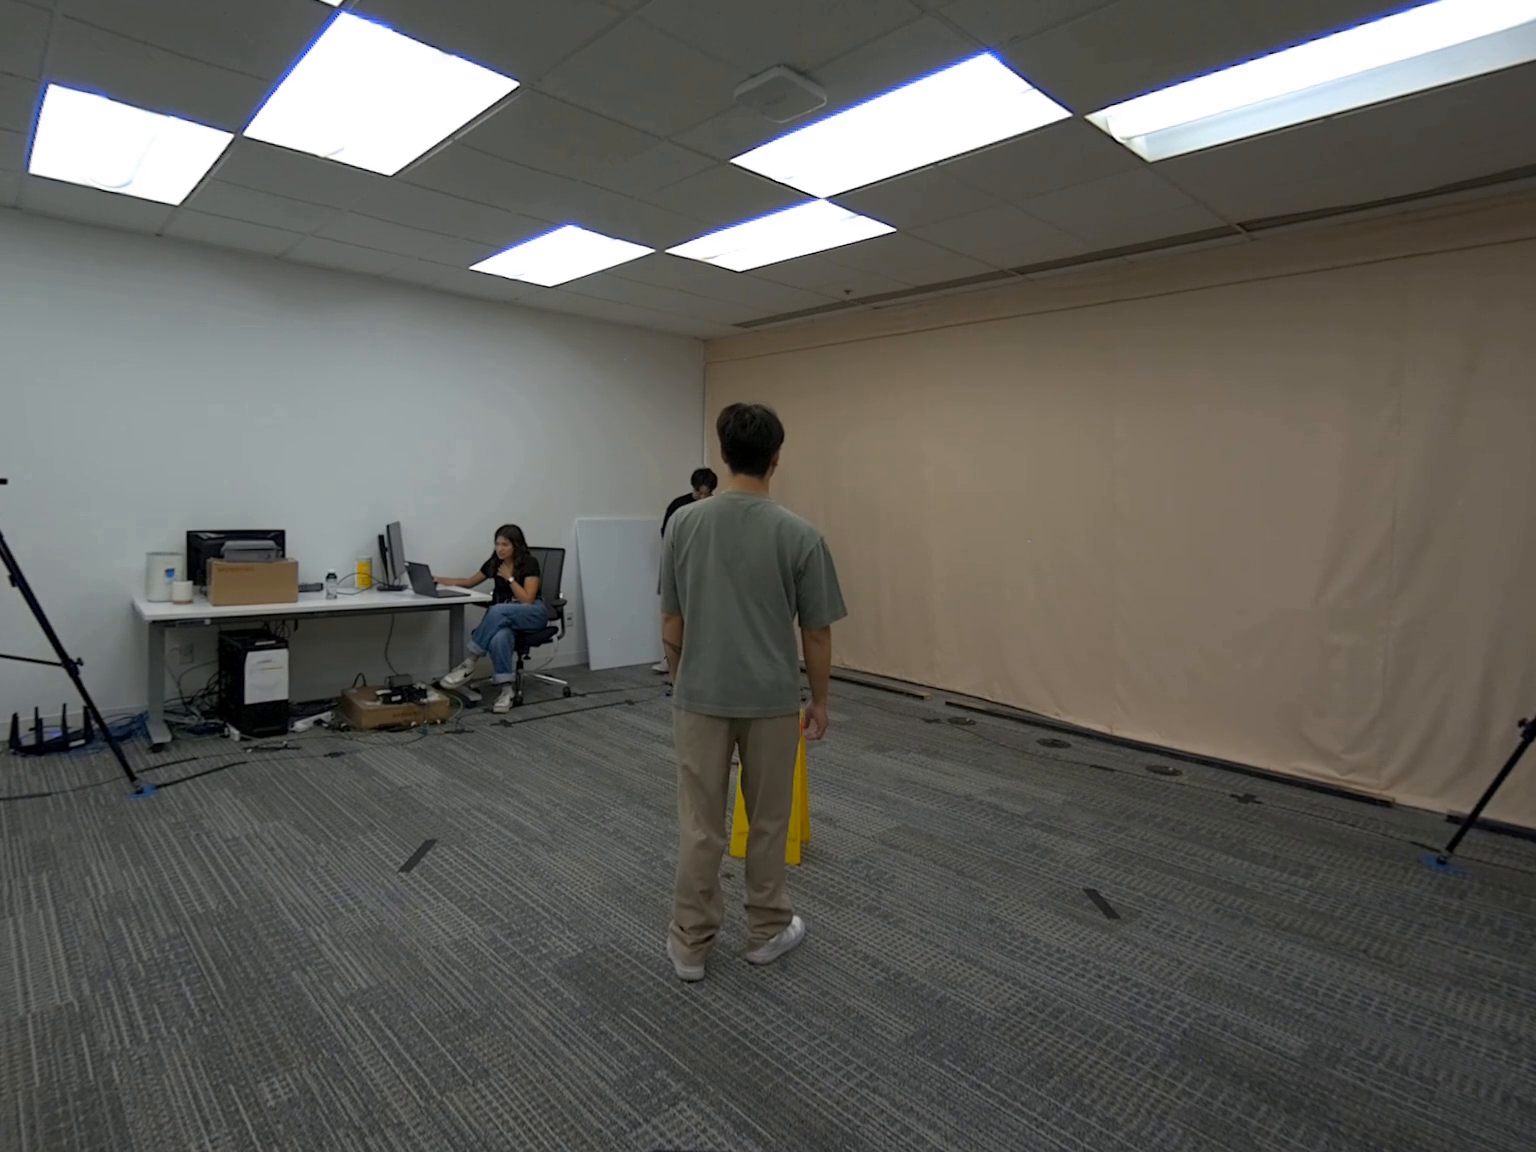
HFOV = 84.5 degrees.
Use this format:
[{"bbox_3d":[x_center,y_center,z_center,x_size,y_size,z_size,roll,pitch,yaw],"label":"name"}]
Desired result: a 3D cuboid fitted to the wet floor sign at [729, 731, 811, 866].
[{"bbox_3d":[0.011,0.771,3.356,0.285,0.645,0.287,3,2,14],"label":"wet floor sign"}]
